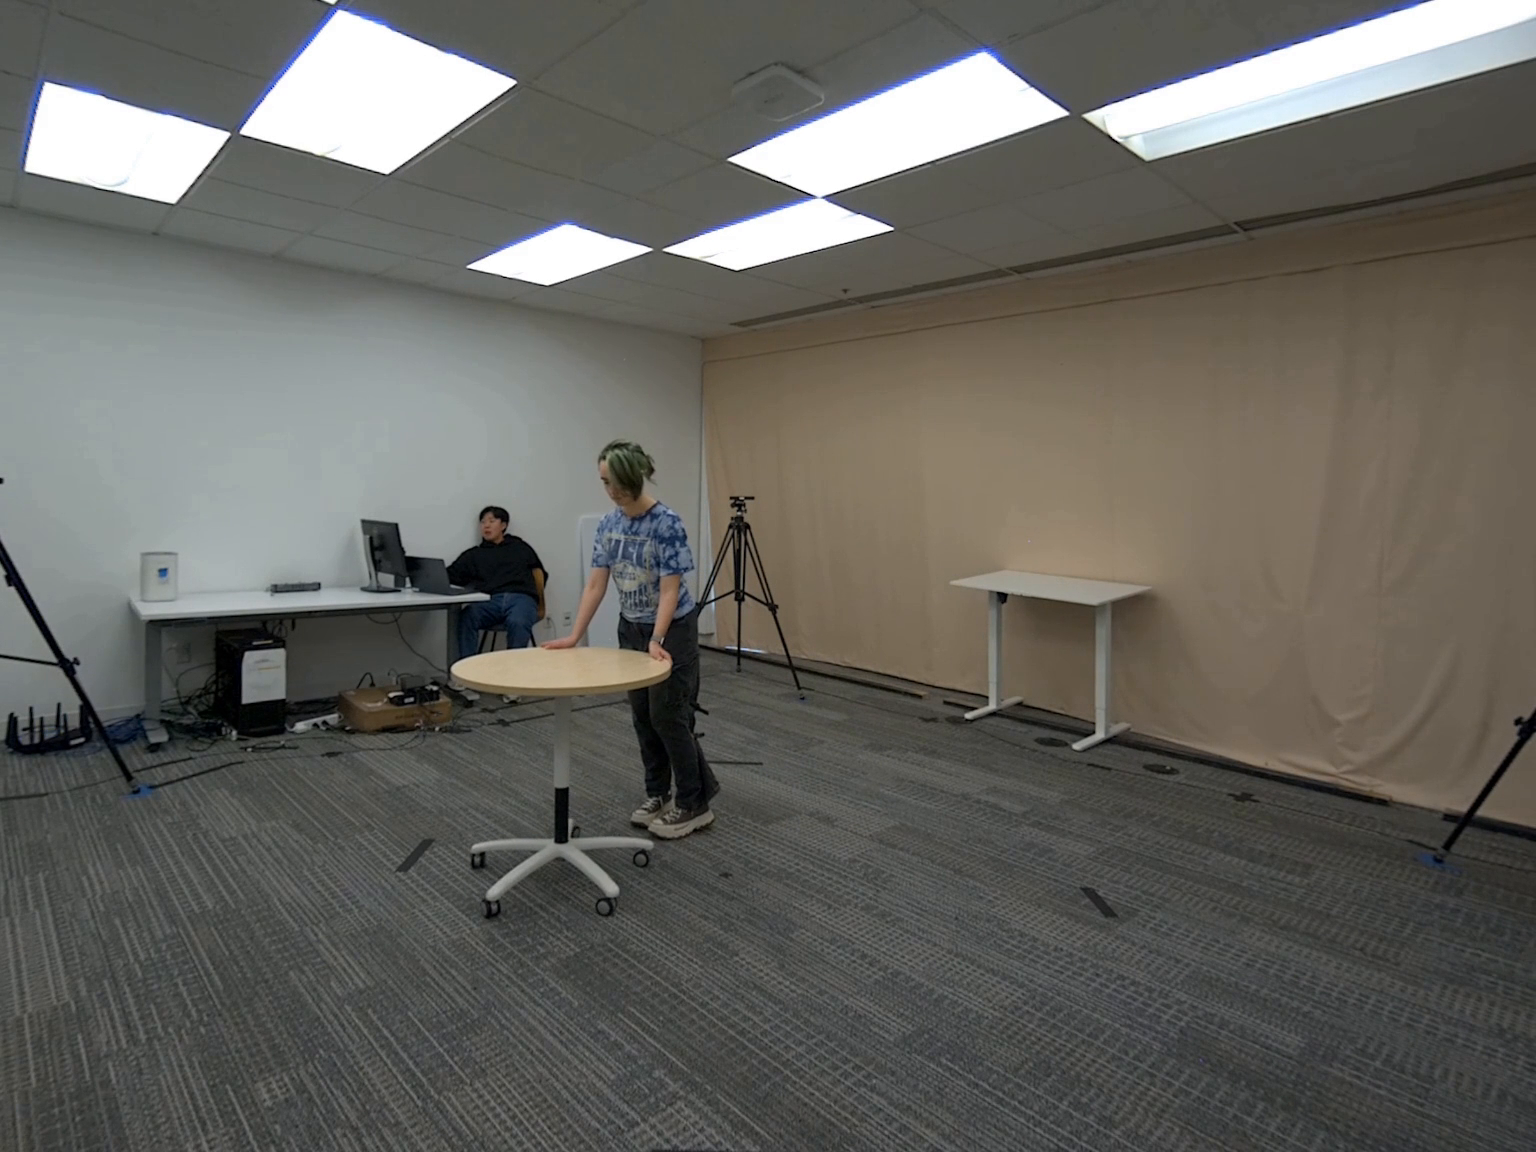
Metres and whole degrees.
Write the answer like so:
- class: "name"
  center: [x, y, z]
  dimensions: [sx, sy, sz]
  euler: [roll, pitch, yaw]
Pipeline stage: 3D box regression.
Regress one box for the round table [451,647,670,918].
- class: "round table"
  center: [-0.752, 0.712, 3.015]
  dimensions: [0.763, 0.792, 0.766]
  euler: [1, 4, -1]
